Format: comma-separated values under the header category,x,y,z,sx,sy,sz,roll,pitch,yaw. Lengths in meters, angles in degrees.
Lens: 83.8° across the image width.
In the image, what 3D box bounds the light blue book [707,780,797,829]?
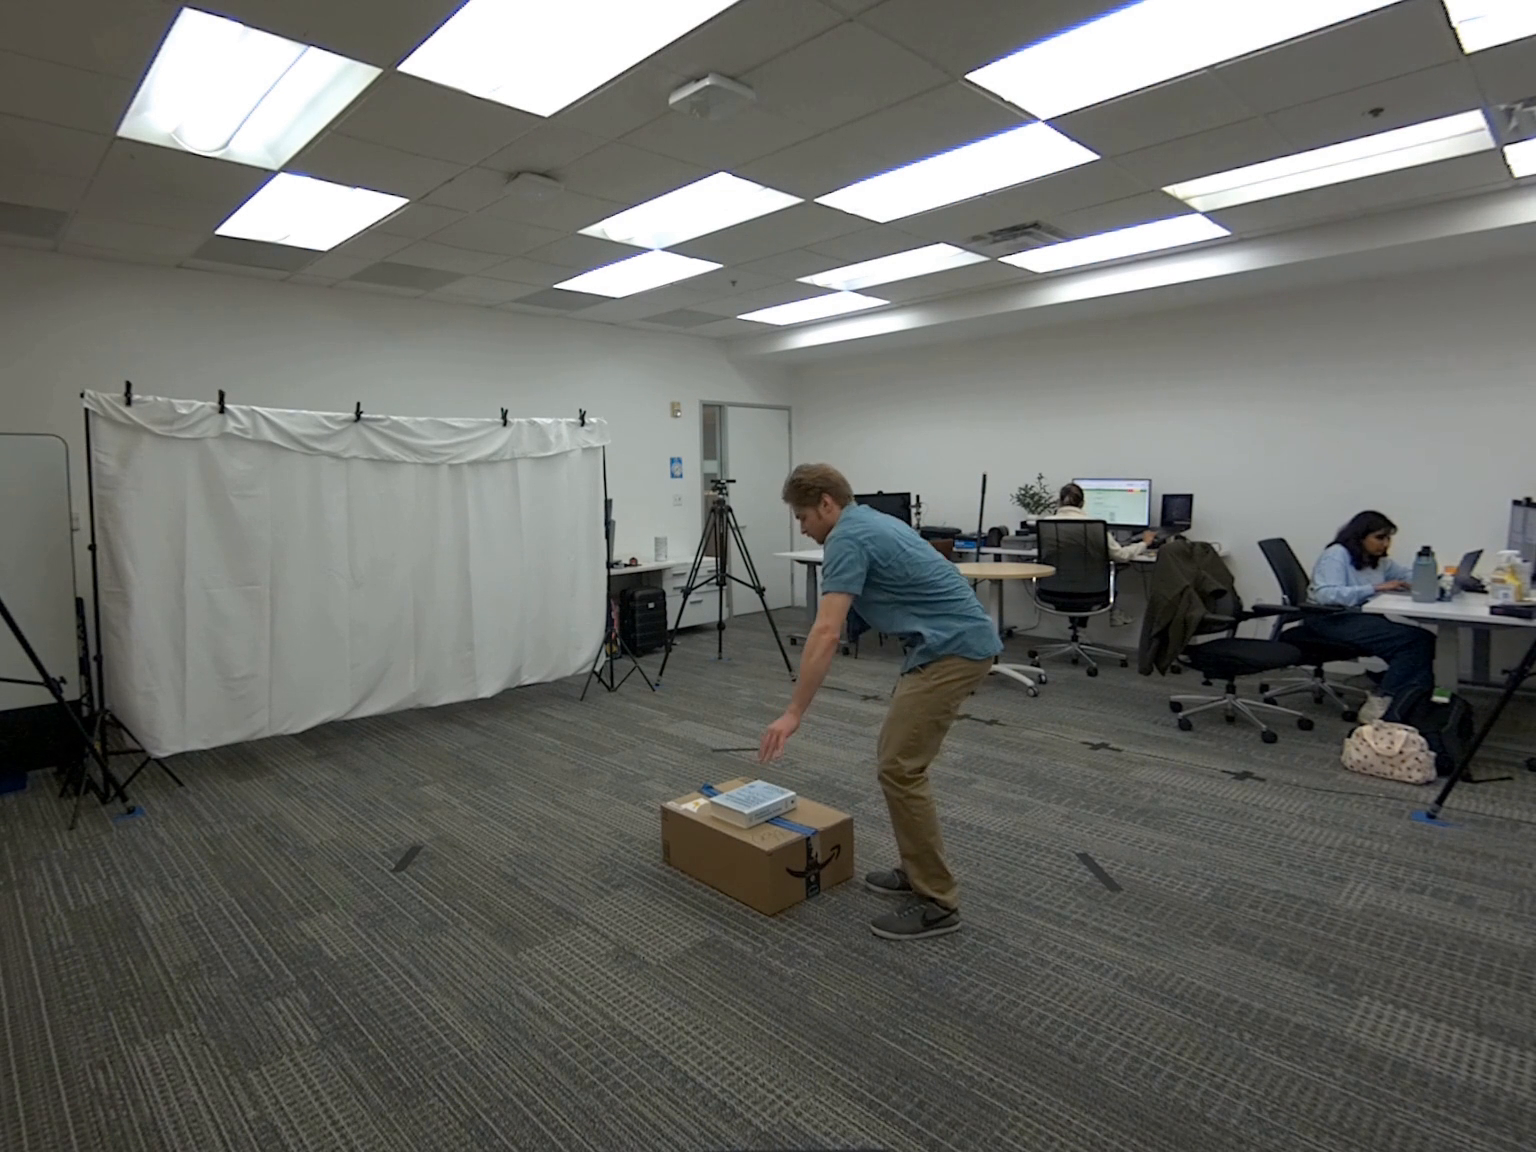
category,x,y,z,sx,sy,sz,roll,pitch,yaw
light blue book,-0.052,0.810,3.060,0.197,0.059,0.254,5,9,44
